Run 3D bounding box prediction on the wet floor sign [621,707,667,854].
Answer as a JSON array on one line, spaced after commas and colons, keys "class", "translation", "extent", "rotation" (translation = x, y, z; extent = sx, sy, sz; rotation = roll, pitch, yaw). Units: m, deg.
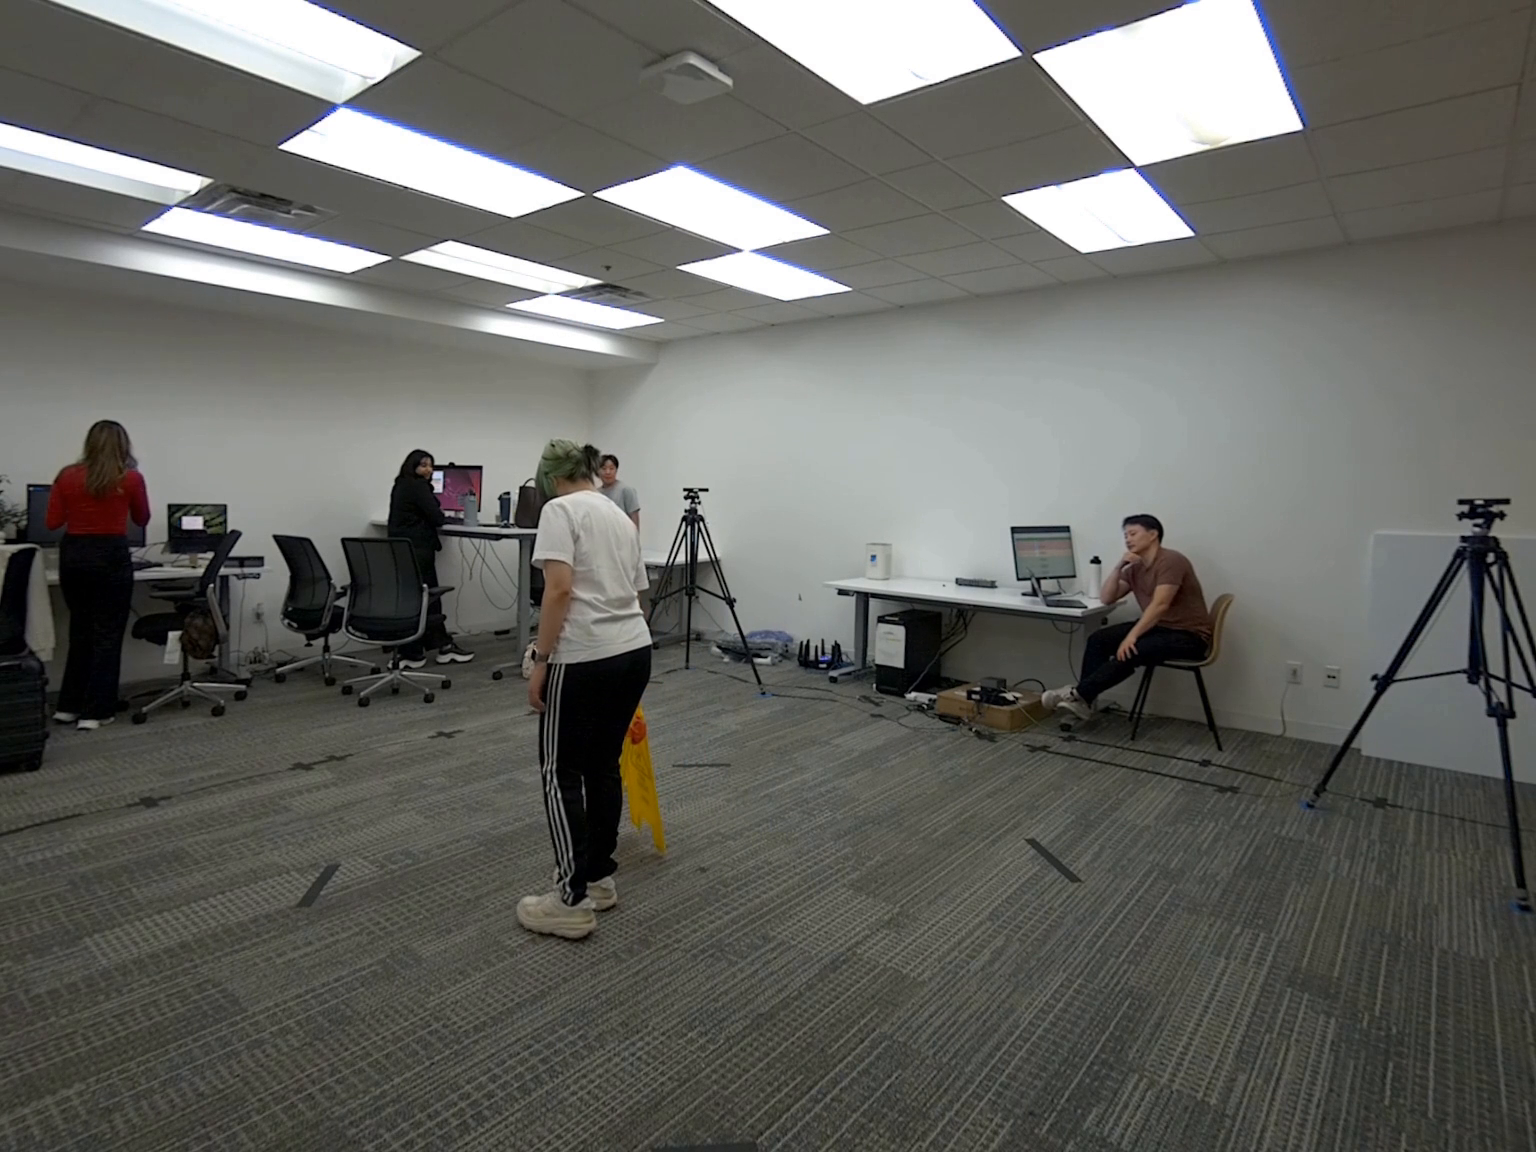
[{"class": "wet floor sign", "translation": [-0.556, 0.705, 3.190], "extent": [0.282, 0.641, 0.292], "rotation": [-3, 10, -33]}]
